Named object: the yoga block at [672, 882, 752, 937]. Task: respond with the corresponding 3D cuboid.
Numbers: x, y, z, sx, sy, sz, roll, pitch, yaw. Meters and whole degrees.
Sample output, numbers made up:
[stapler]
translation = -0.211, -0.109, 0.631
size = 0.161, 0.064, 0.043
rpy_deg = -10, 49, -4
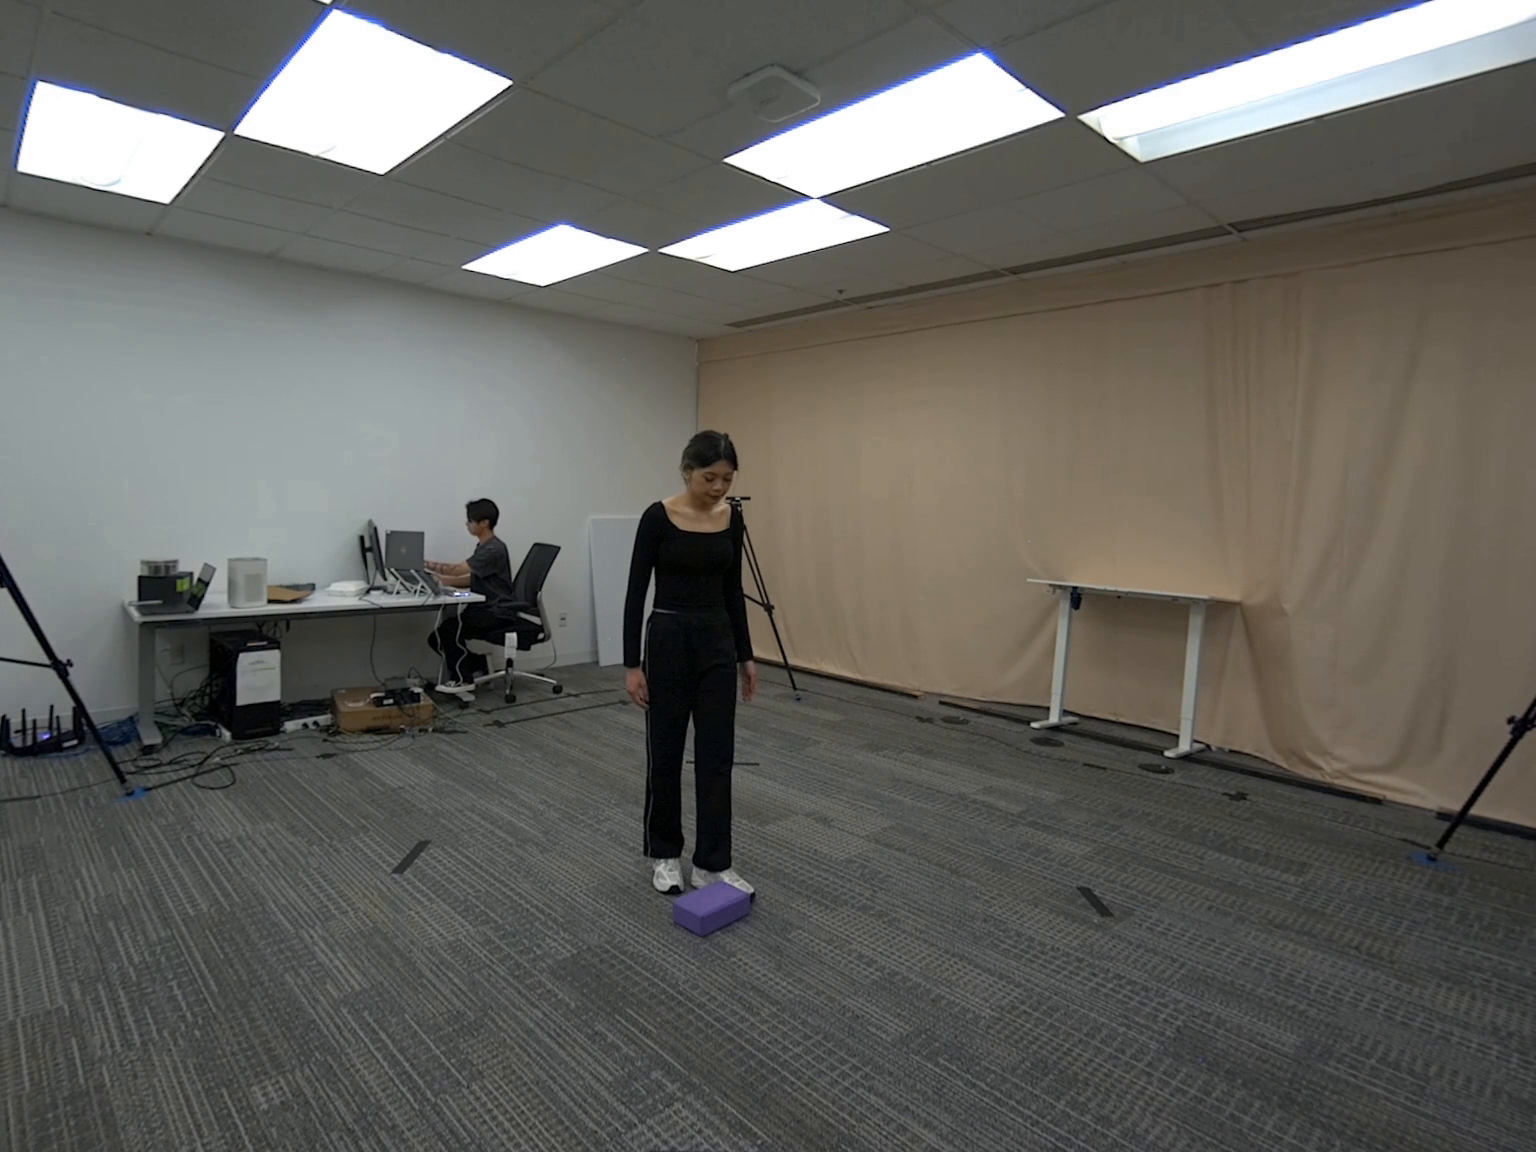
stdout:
[yoga block]
translation = -0.196, 1.098, 2.781
size = 0.153, 0.076, 0.224
rpy_deg = 6, 8, 43
